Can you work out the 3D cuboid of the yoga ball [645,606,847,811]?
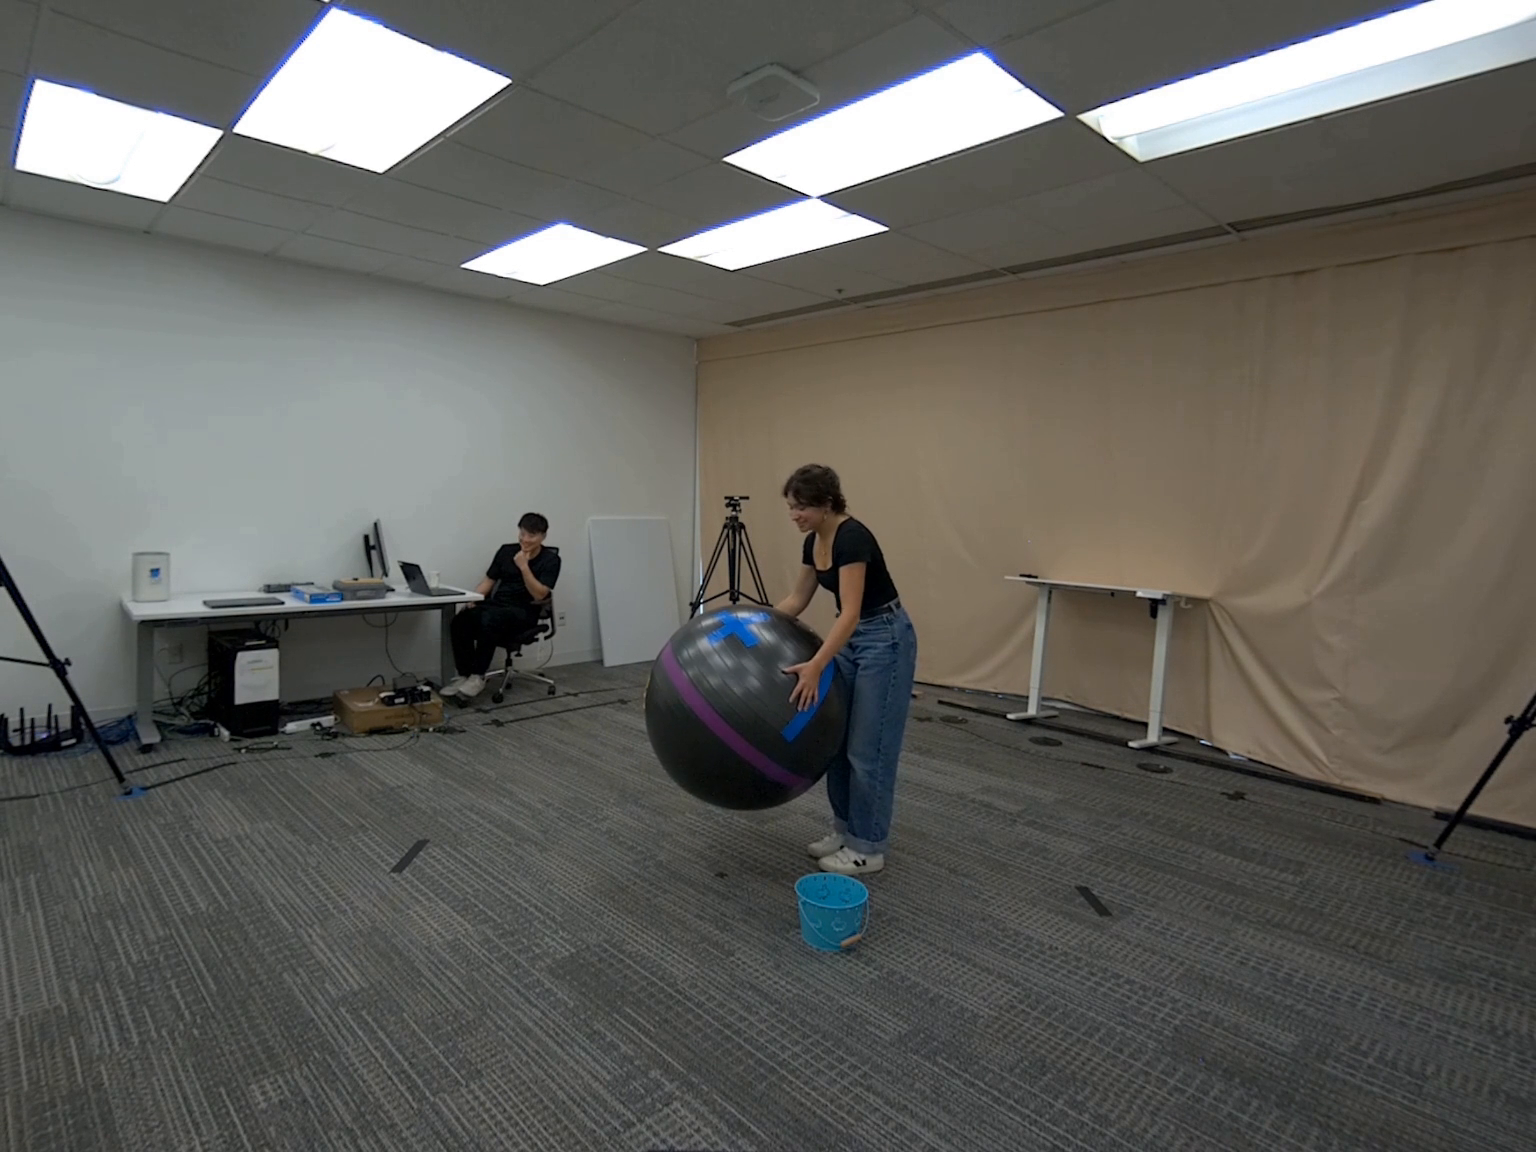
[{"bbox_3d":[-0.095,0.496,3.151,0.757,0.756,0.761,1,4,-1],"label":"yoga ball"}]
